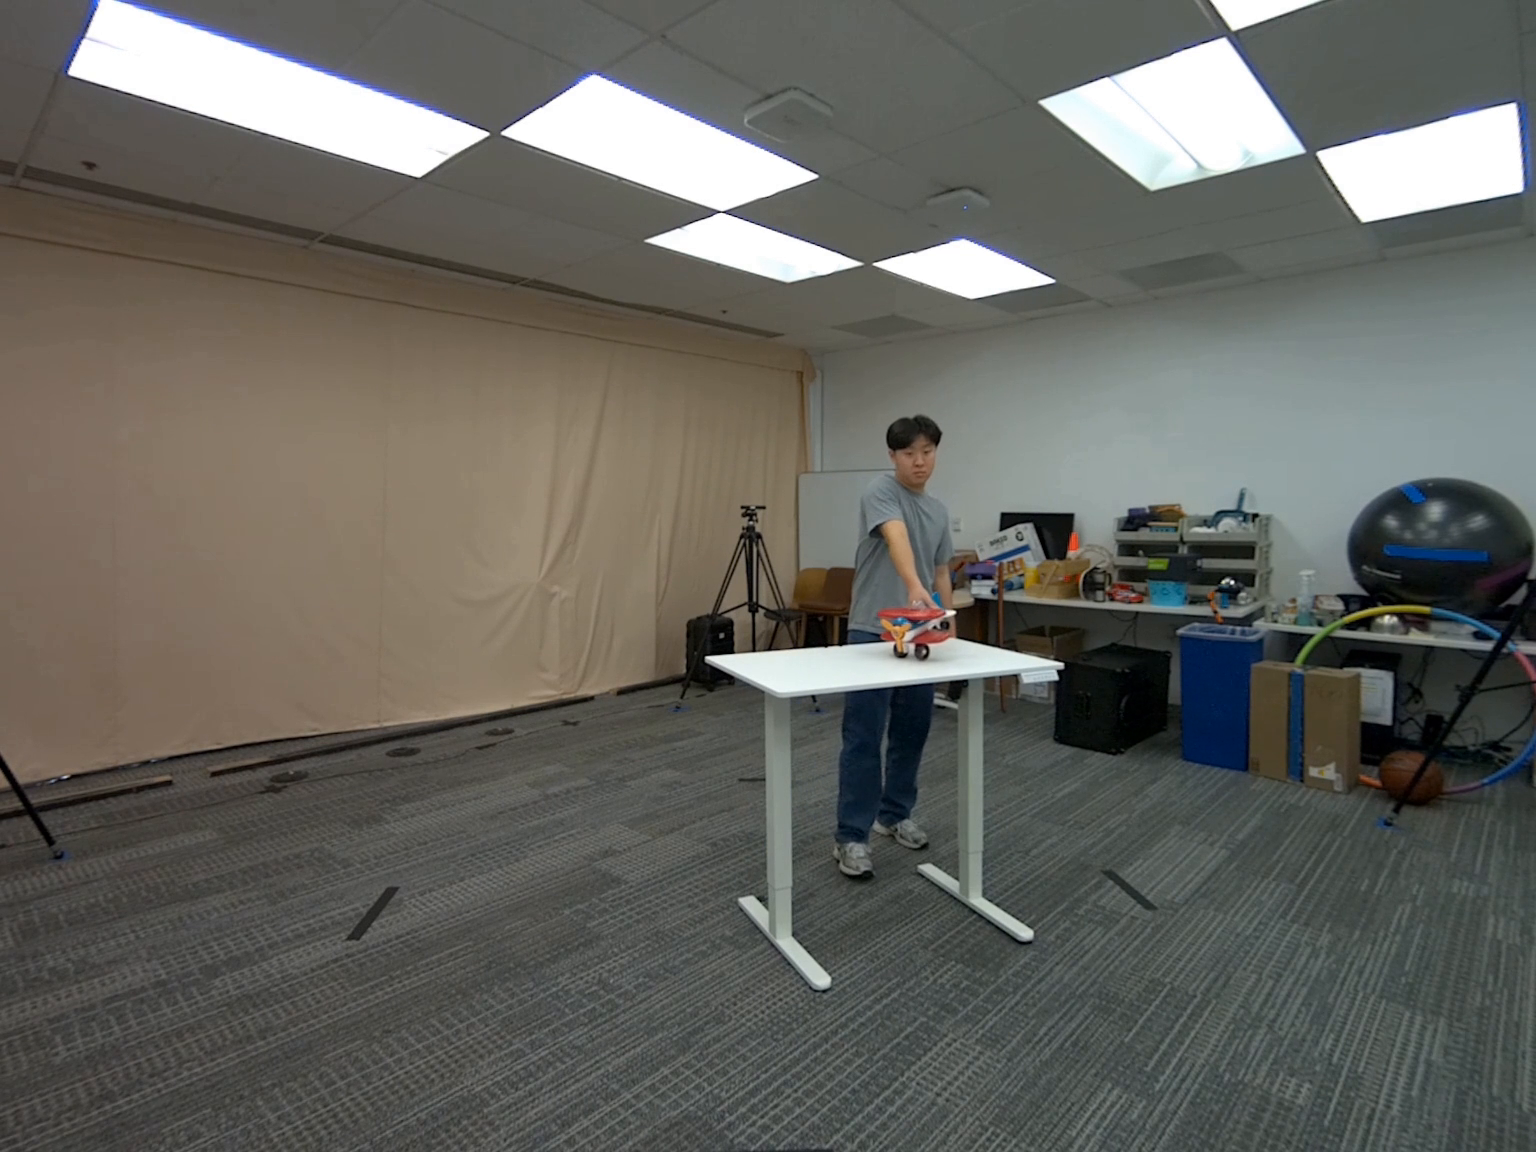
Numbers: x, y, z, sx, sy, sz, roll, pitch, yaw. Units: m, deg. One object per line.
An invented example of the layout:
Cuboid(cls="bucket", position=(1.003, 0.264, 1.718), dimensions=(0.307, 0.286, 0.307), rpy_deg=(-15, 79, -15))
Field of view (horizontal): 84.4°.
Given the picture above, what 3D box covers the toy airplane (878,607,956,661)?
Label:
Cuboid(cls="toy airplane", position=(0.494, 0.164, 2.826), dimensions=(0.256, 0.154, 0.259), rpy_deg=(-15, 20, 23))
